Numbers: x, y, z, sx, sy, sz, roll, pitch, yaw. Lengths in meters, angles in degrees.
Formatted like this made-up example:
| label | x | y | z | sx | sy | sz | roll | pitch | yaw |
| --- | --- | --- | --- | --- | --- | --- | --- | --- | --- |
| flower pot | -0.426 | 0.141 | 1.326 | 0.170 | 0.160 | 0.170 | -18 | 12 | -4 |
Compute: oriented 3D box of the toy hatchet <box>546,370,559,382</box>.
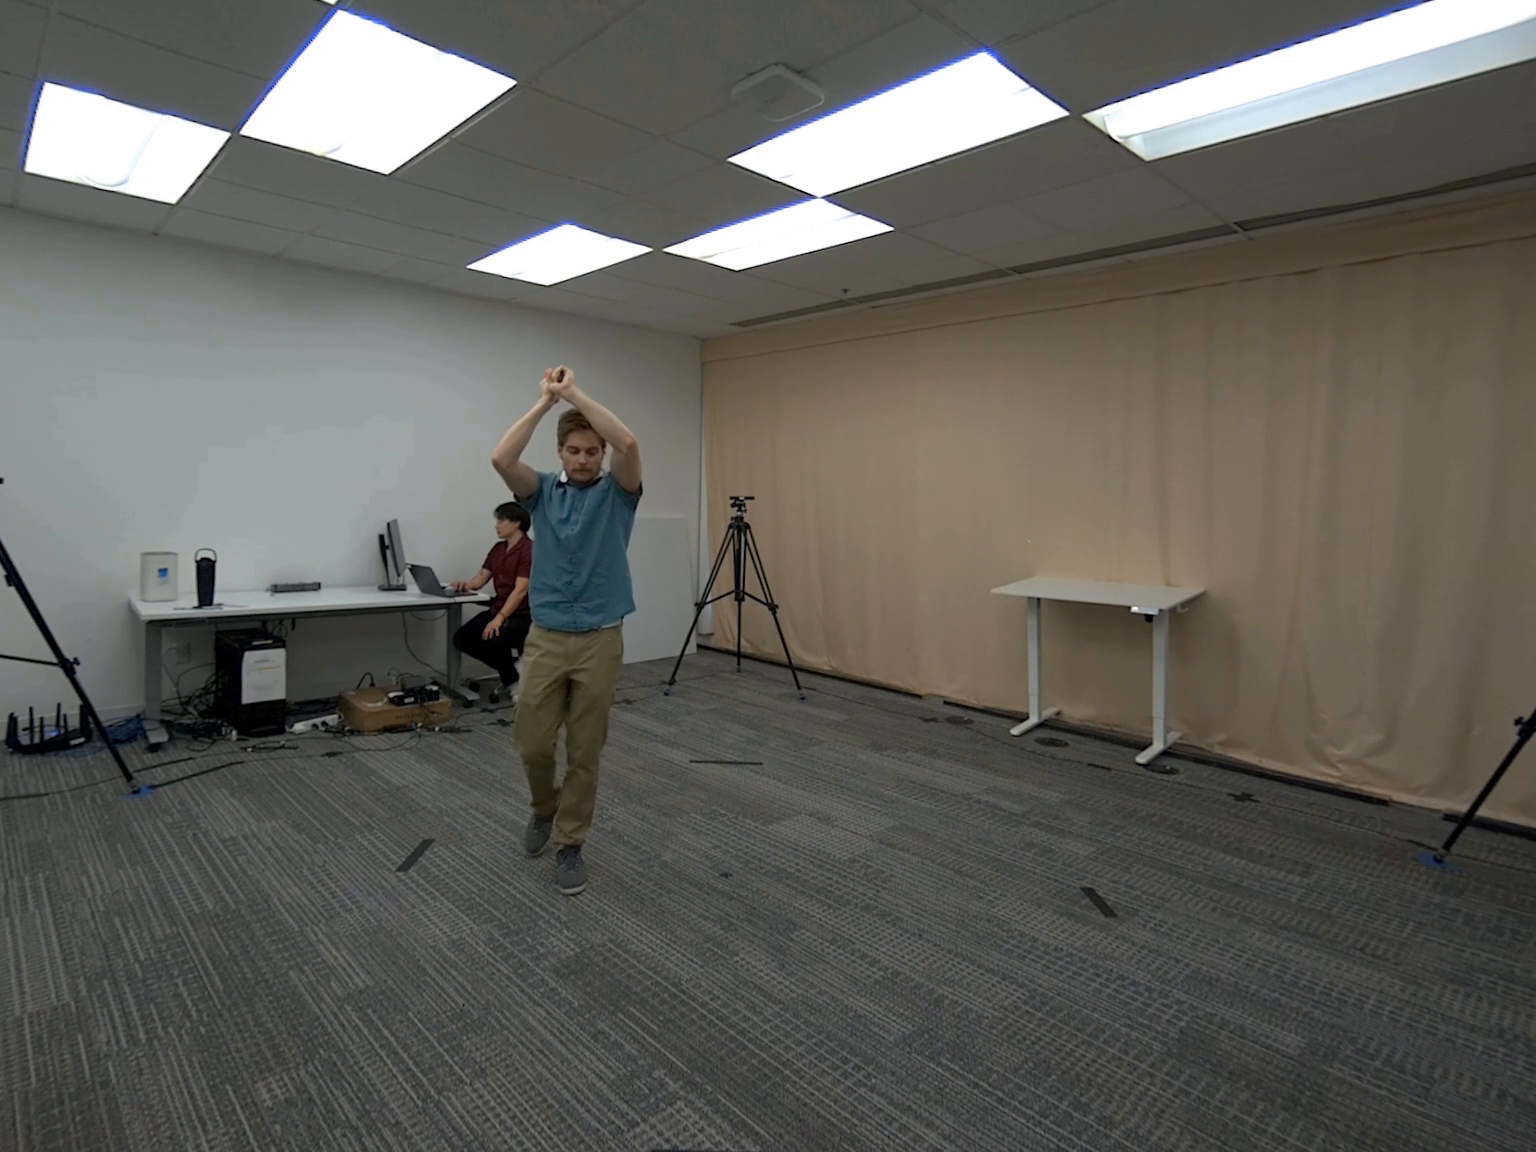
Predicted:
| label | x | y | z | sx | sy | sz | roll | pitch | yaw |
| --- | --- | --- | --- | --- | --- | --- | --- | --- | --- |
| toy hatchet | -0.788 | -0.710 | 2.981 | 0.029 | 0.132 | 0.271 | 13 | -13 | -15 |
